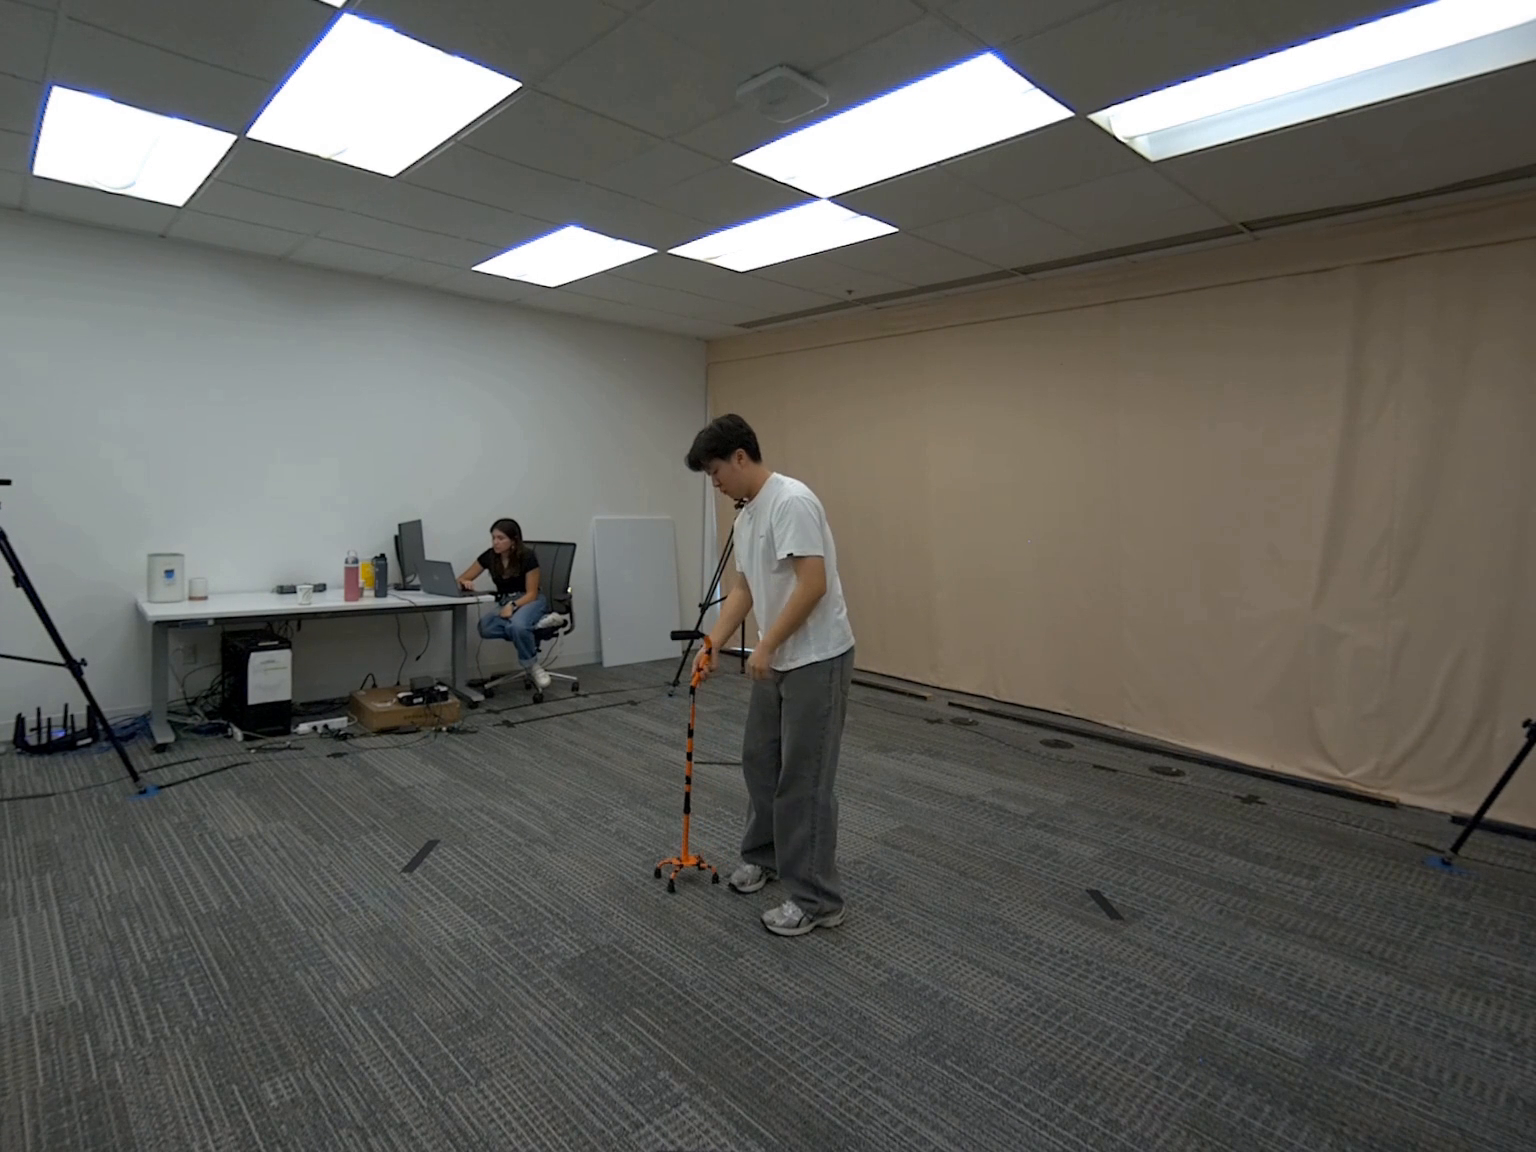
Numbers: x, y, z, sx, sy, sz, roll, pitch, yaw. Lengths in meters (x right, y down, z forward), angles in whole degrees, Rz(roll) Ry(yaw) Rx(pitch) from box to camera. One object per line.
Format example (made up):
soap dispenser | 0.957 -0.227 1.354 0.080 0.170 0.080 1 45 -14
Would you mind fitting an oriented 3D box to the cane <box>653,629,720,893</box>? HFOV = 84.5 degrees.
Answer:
cane | -0.280 0.635 3.041 0.202 0.905 0.155 -1 4 -29
